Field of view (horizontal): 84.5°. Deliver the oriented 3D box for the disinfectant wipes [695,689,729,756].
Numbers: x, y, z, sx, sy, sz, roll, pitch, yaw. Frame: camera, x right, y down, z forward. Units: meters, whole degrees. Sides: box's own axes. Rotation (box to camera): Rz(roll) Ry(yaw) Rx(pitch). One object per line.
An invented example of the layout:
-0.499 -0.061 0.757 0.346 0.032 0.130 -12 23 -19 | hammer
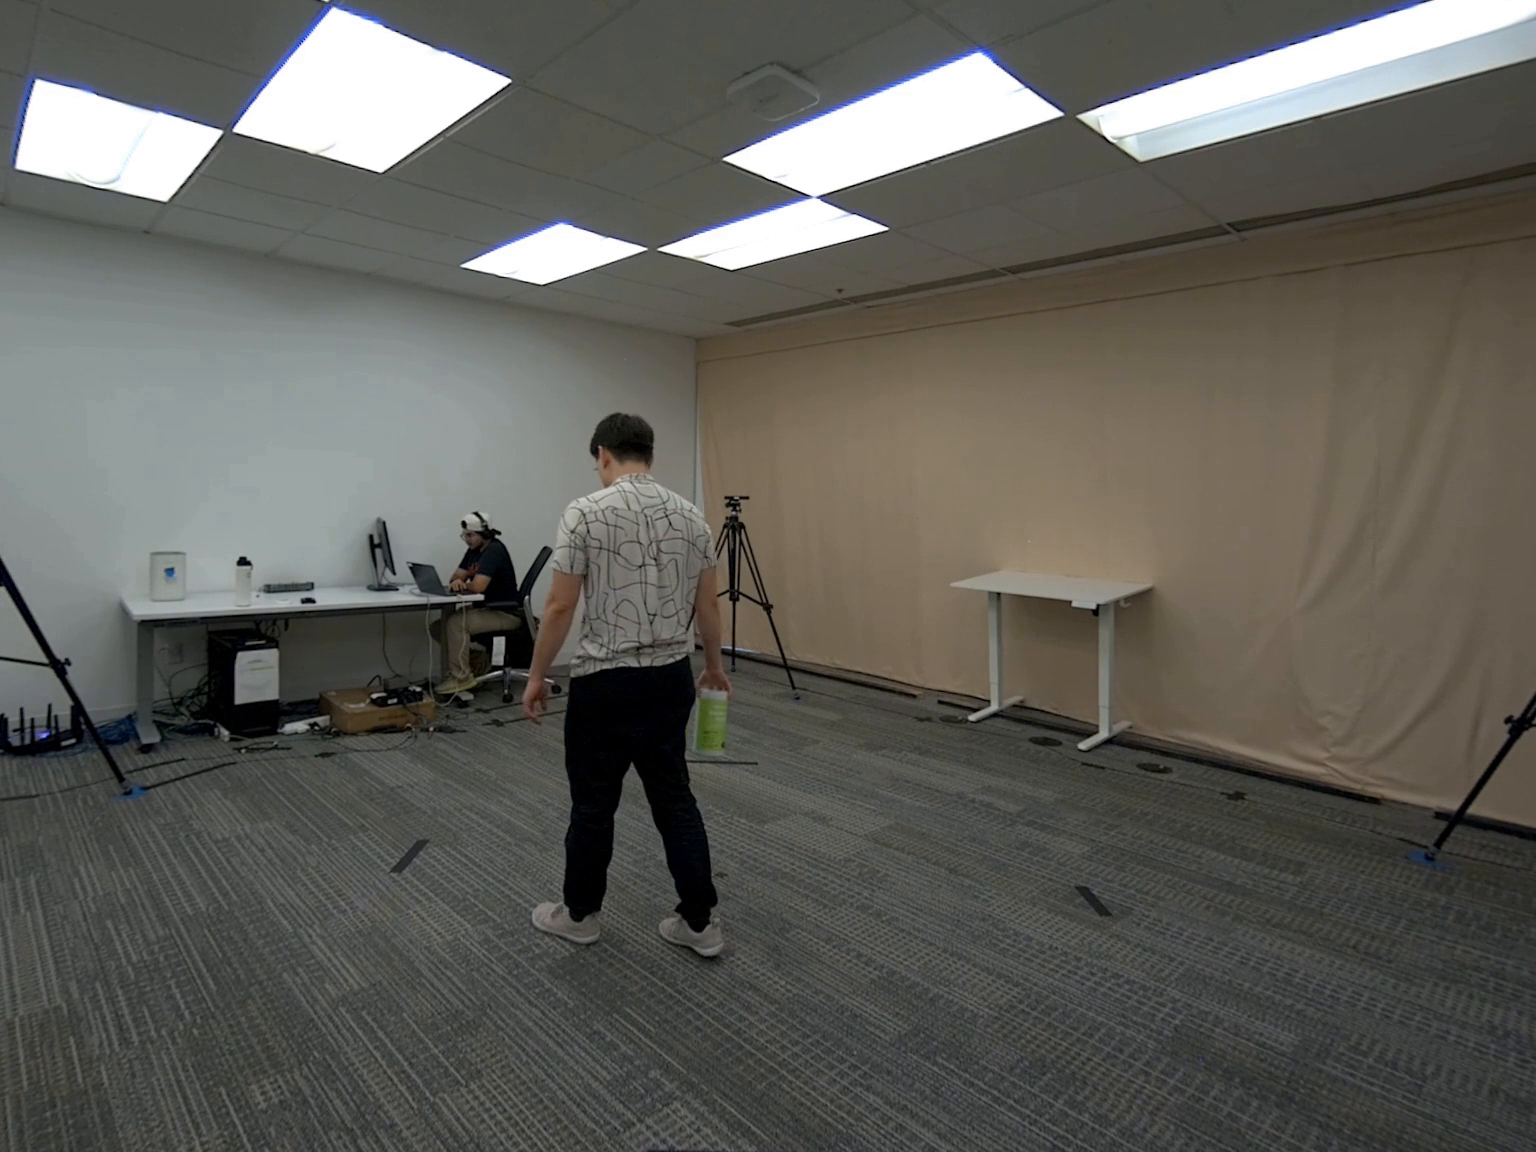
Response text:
-0.207 0.499 2.820 0.118 0.218 0.117 5 -4 -1 | disinfectant wipes
